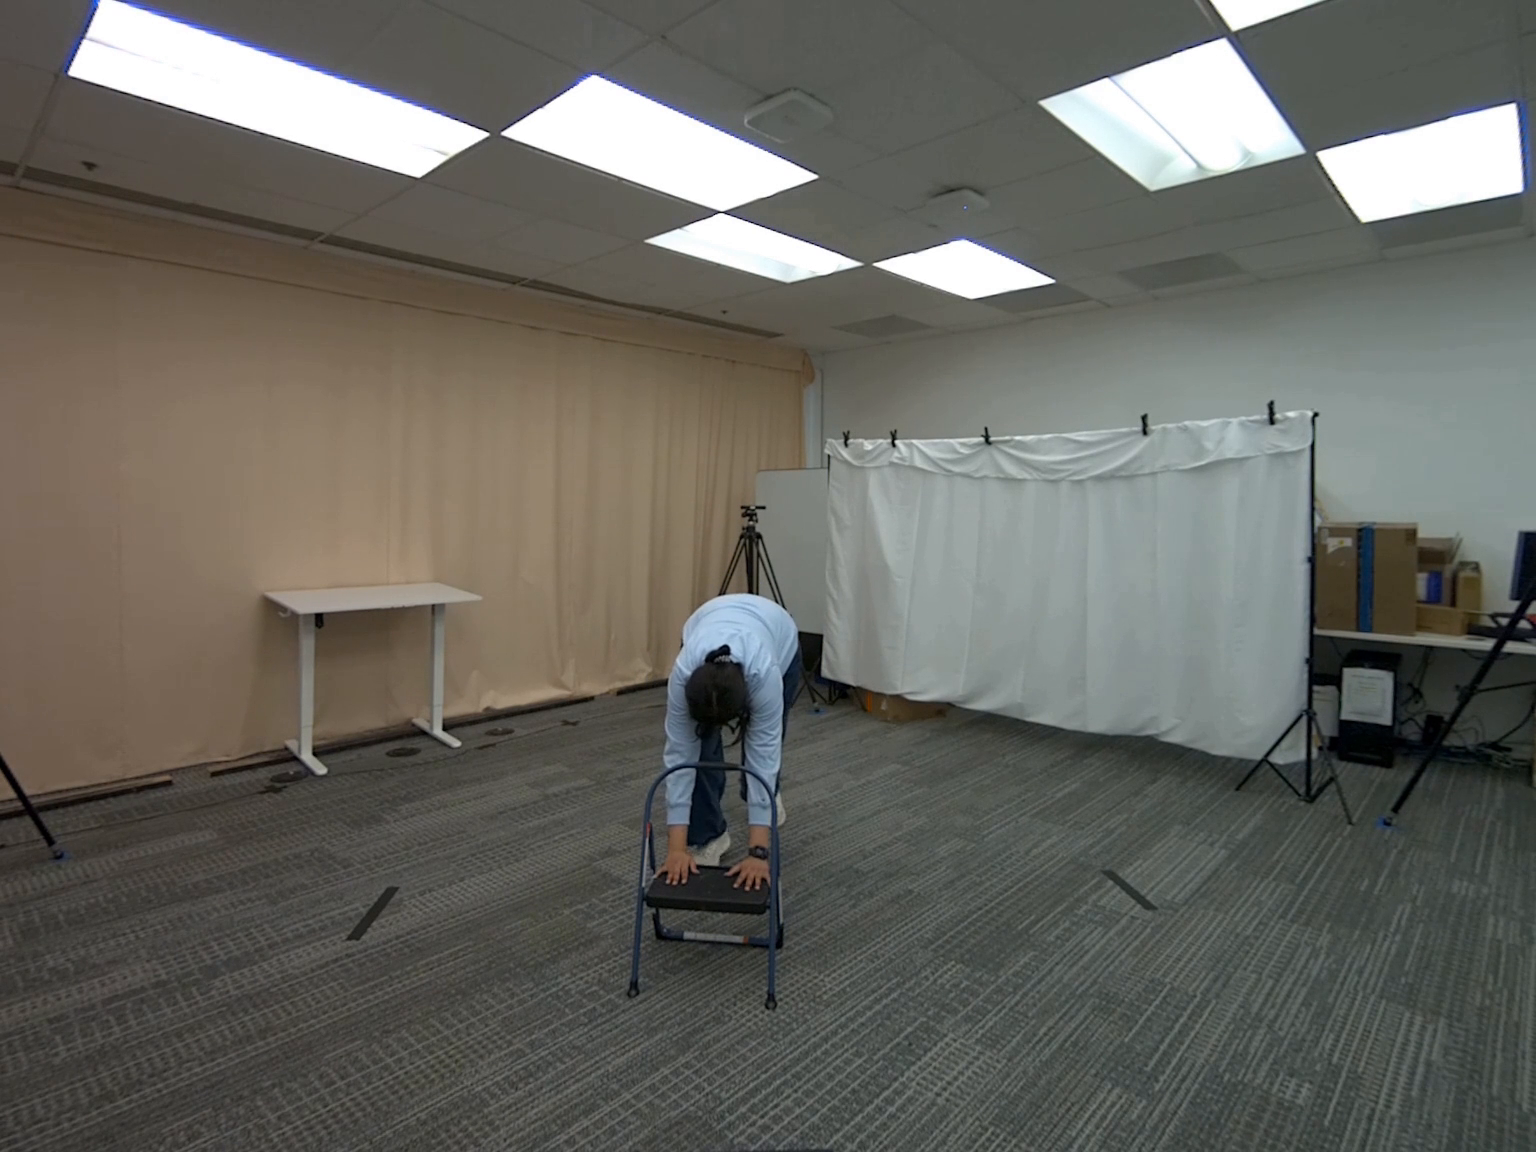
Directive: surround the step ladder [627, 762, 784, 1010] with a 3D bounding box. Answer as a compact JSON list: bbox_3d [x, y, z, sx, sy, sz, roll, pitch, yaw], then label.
[{"bbox_3d":[-0.171,0.877,2.518,0.434,0.605,0.347,0,3,7],"label":"step ladder"}]
